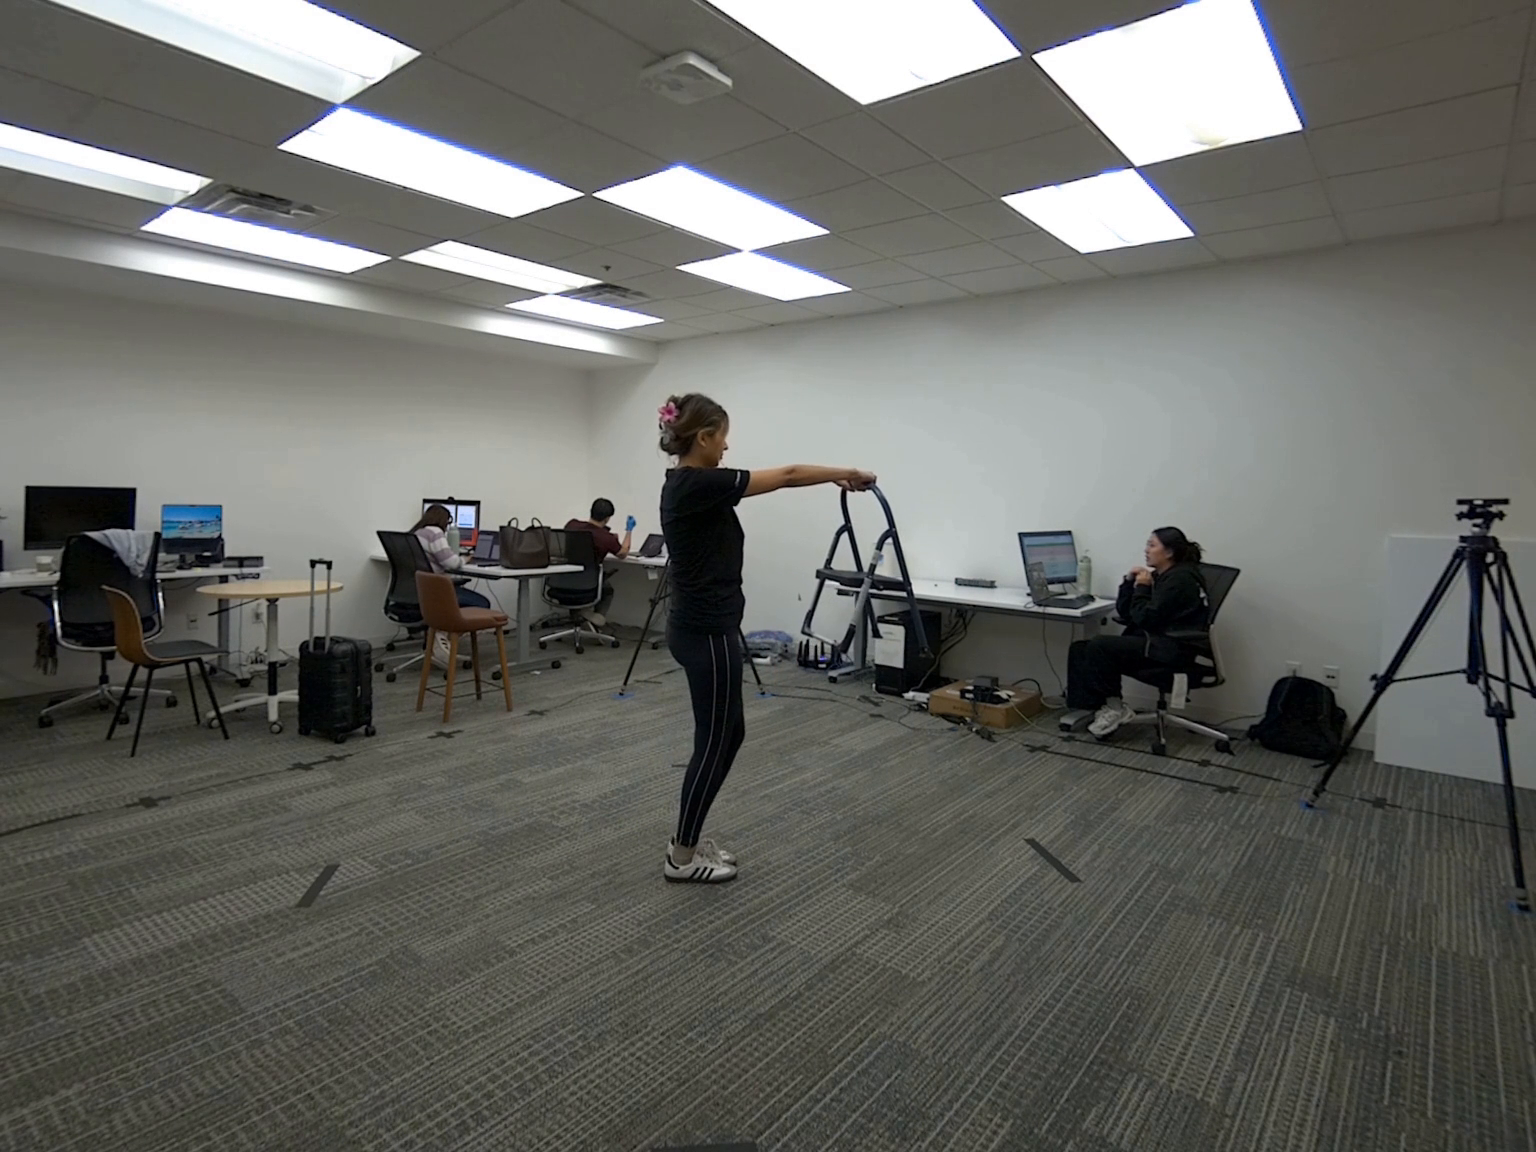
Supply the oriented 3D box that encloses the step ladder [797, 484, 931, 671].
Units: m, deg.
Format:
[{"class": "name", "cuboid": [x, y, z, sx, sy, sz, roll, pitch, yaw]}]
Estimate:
[{"class": "step ladder", "cuboid": [0.369, -0.031, 3.146, 0.343, 0.604, 0.440, 4, 5, -18]}]
